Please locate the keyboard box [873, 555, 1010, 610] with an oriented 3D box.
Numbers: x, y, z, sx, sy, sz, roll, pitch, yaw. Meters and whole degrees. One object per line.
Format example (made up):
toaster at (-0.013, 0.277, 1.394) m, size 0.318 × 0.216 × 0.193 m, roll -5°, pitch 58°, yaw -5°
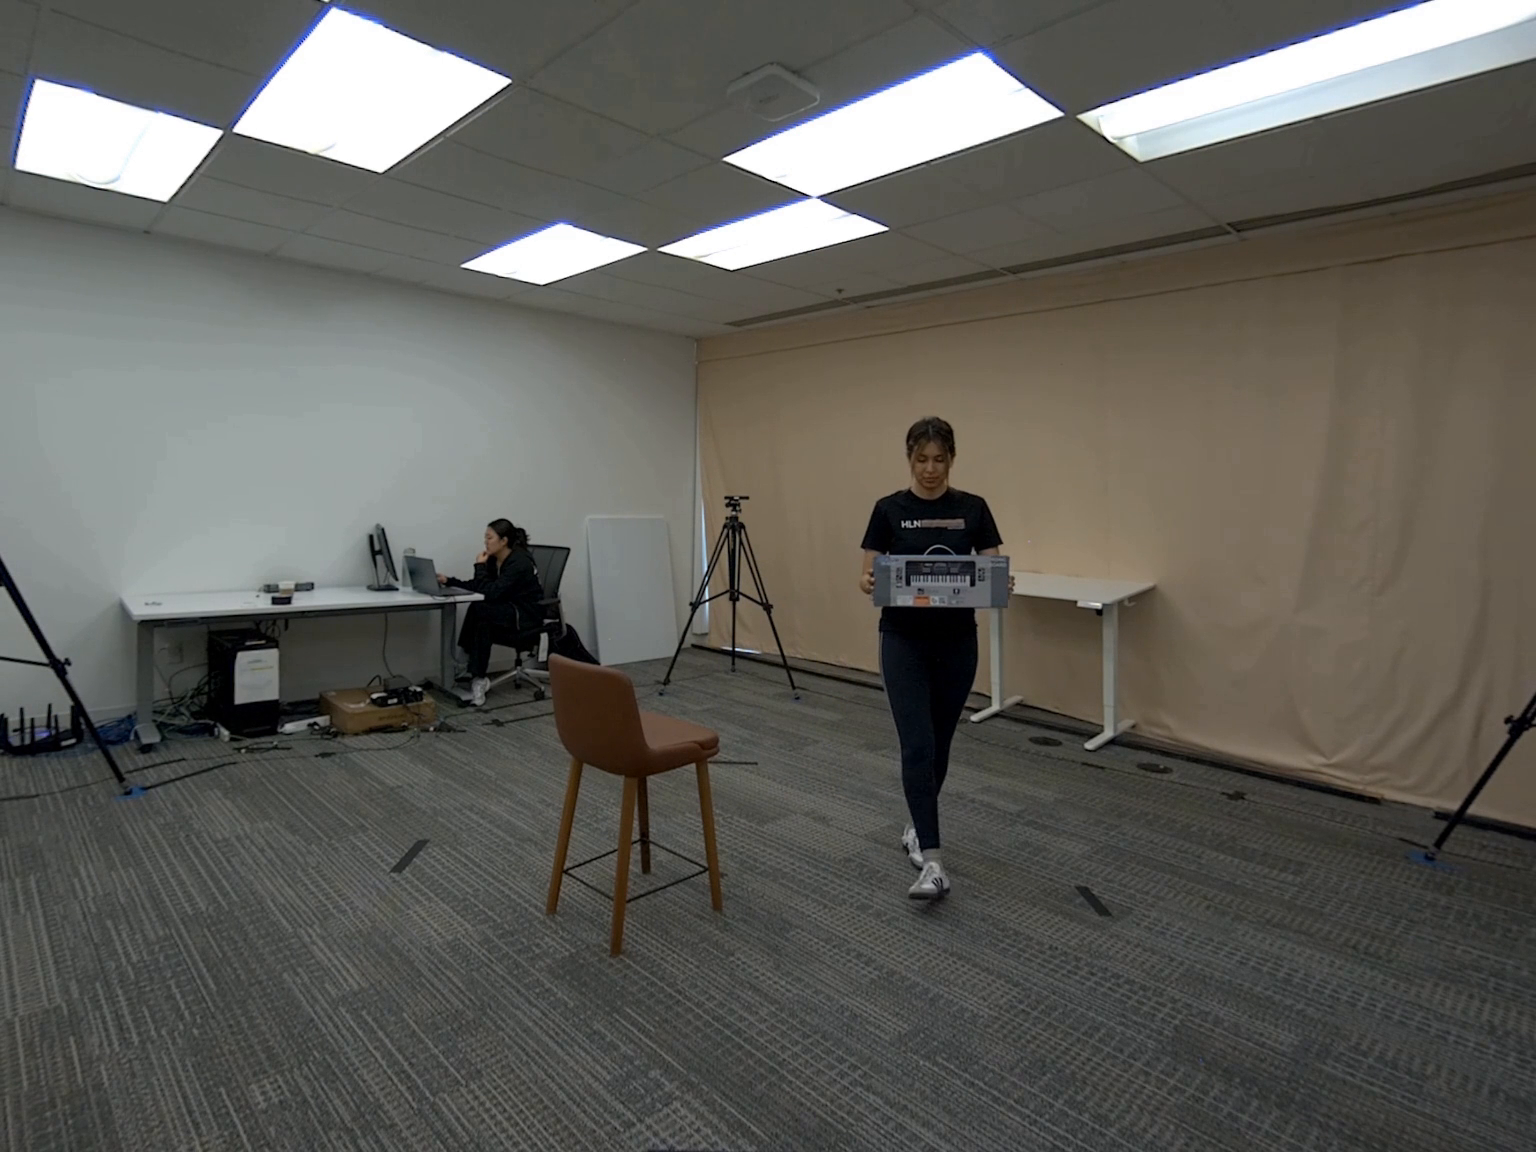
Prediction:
keyboard box at (0.588, 0.016, 2.803) m, size 0.440 × 0.175 × 0.059 m, roll 0°, pitch 4°, yaw 11°
